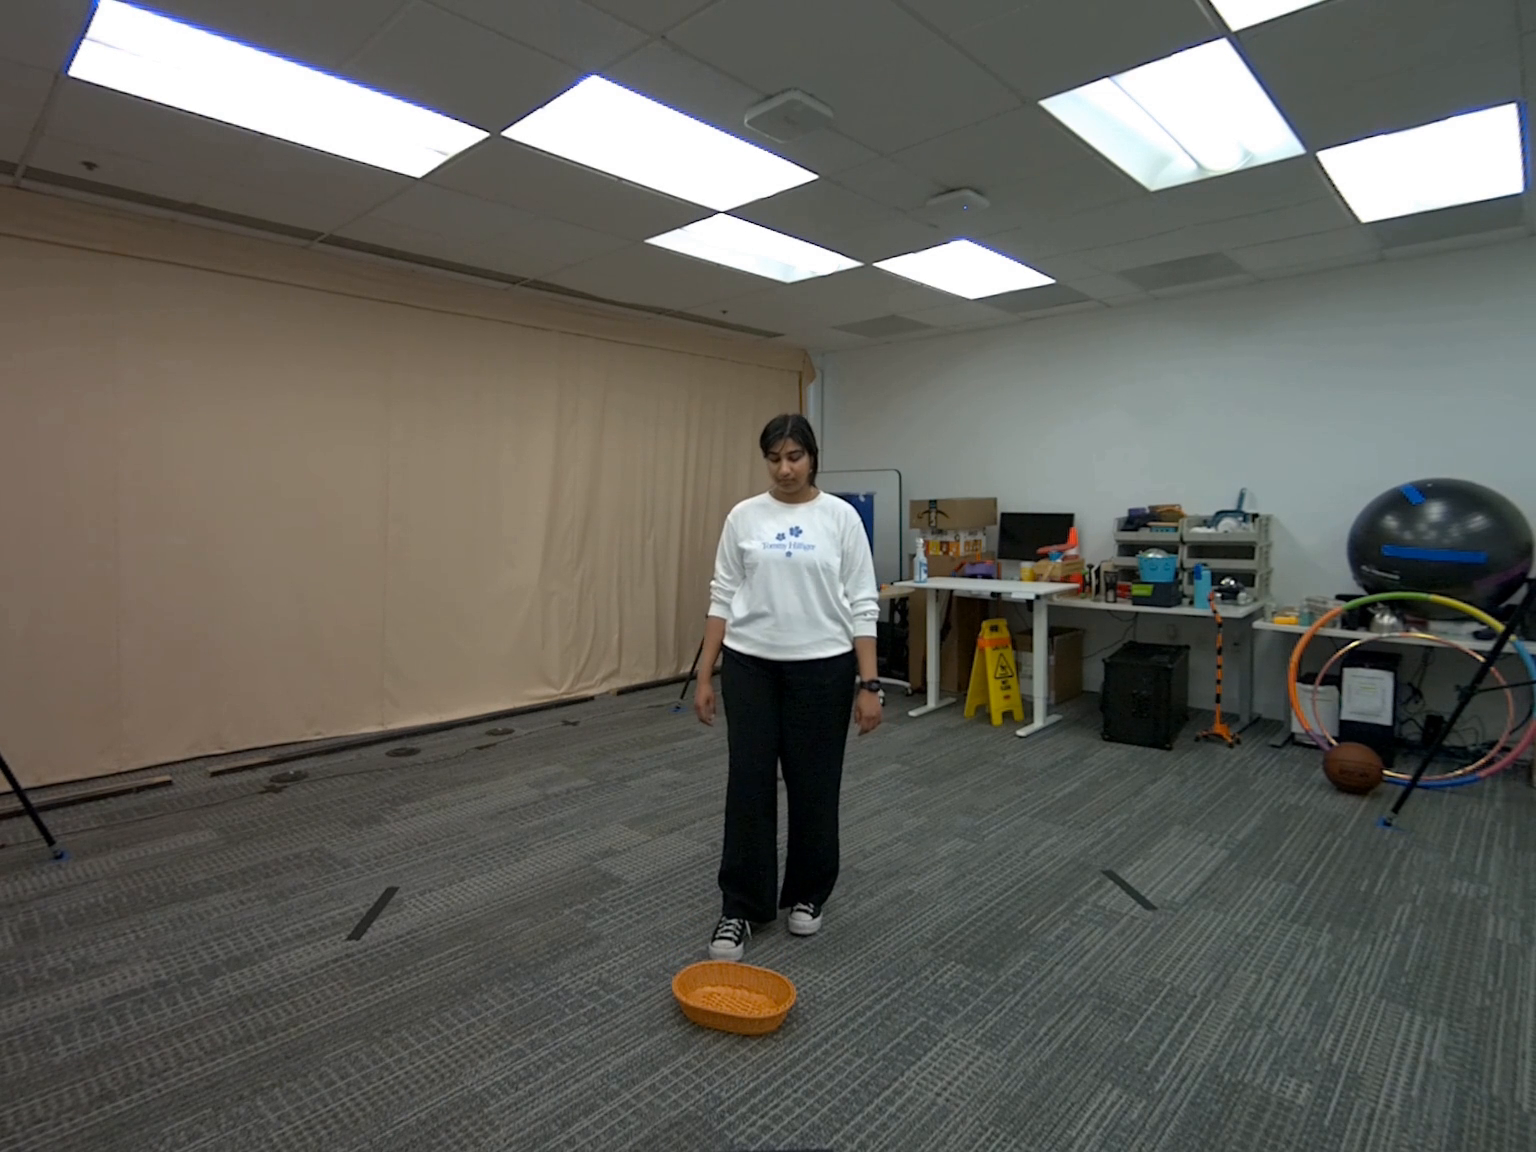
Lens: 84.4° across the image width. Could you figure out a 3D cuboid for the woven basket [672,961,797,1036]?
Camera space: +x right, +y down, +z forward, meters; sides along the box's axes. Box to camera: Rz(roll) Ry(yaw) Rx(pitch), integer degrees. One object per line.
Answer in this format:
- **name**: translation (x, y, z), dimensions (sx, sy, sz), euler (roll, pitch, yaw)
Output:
- **woven basket**: translation (-0.088, 1.160, 2.319), dimensions (0.359, 0.073, 0.247), euler (1, 4, 23)
